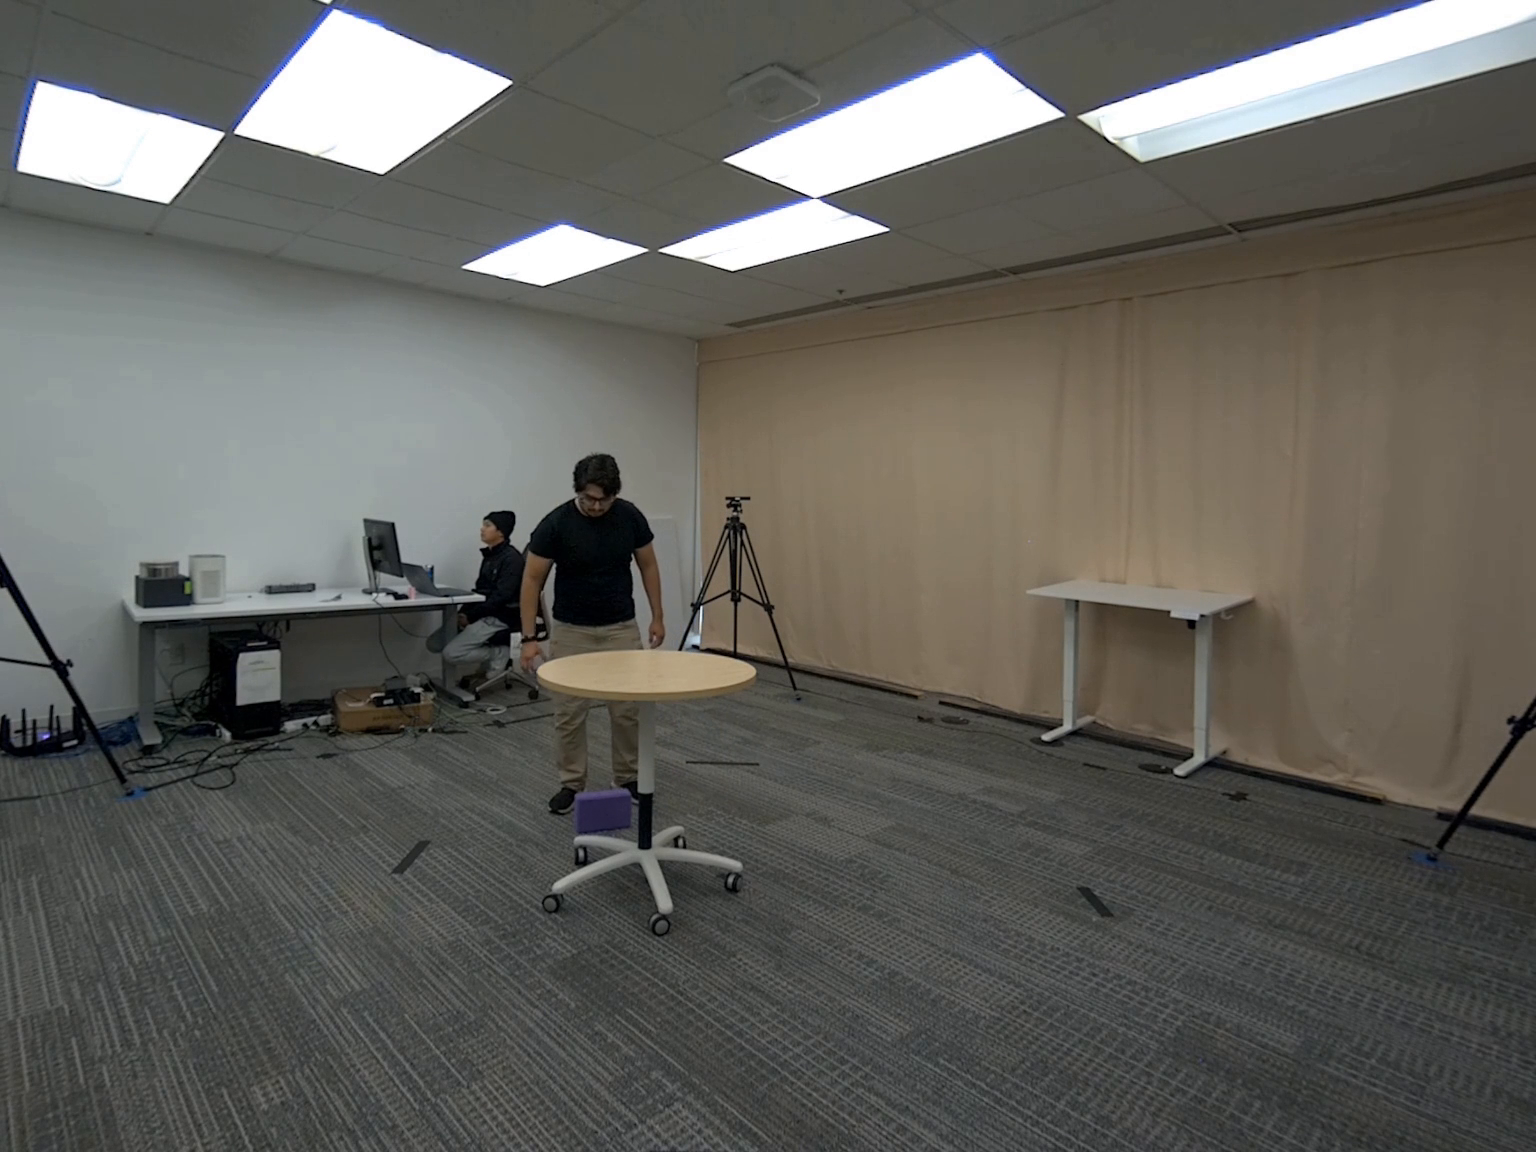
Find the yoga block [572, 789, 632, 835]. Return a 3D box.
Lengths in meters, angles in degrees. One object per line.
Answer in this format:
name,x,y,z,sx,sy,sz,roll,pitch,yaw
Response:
yoga block,-0.705,0.983,3.529,0.226,0.148,0.078,-1,6,-20
